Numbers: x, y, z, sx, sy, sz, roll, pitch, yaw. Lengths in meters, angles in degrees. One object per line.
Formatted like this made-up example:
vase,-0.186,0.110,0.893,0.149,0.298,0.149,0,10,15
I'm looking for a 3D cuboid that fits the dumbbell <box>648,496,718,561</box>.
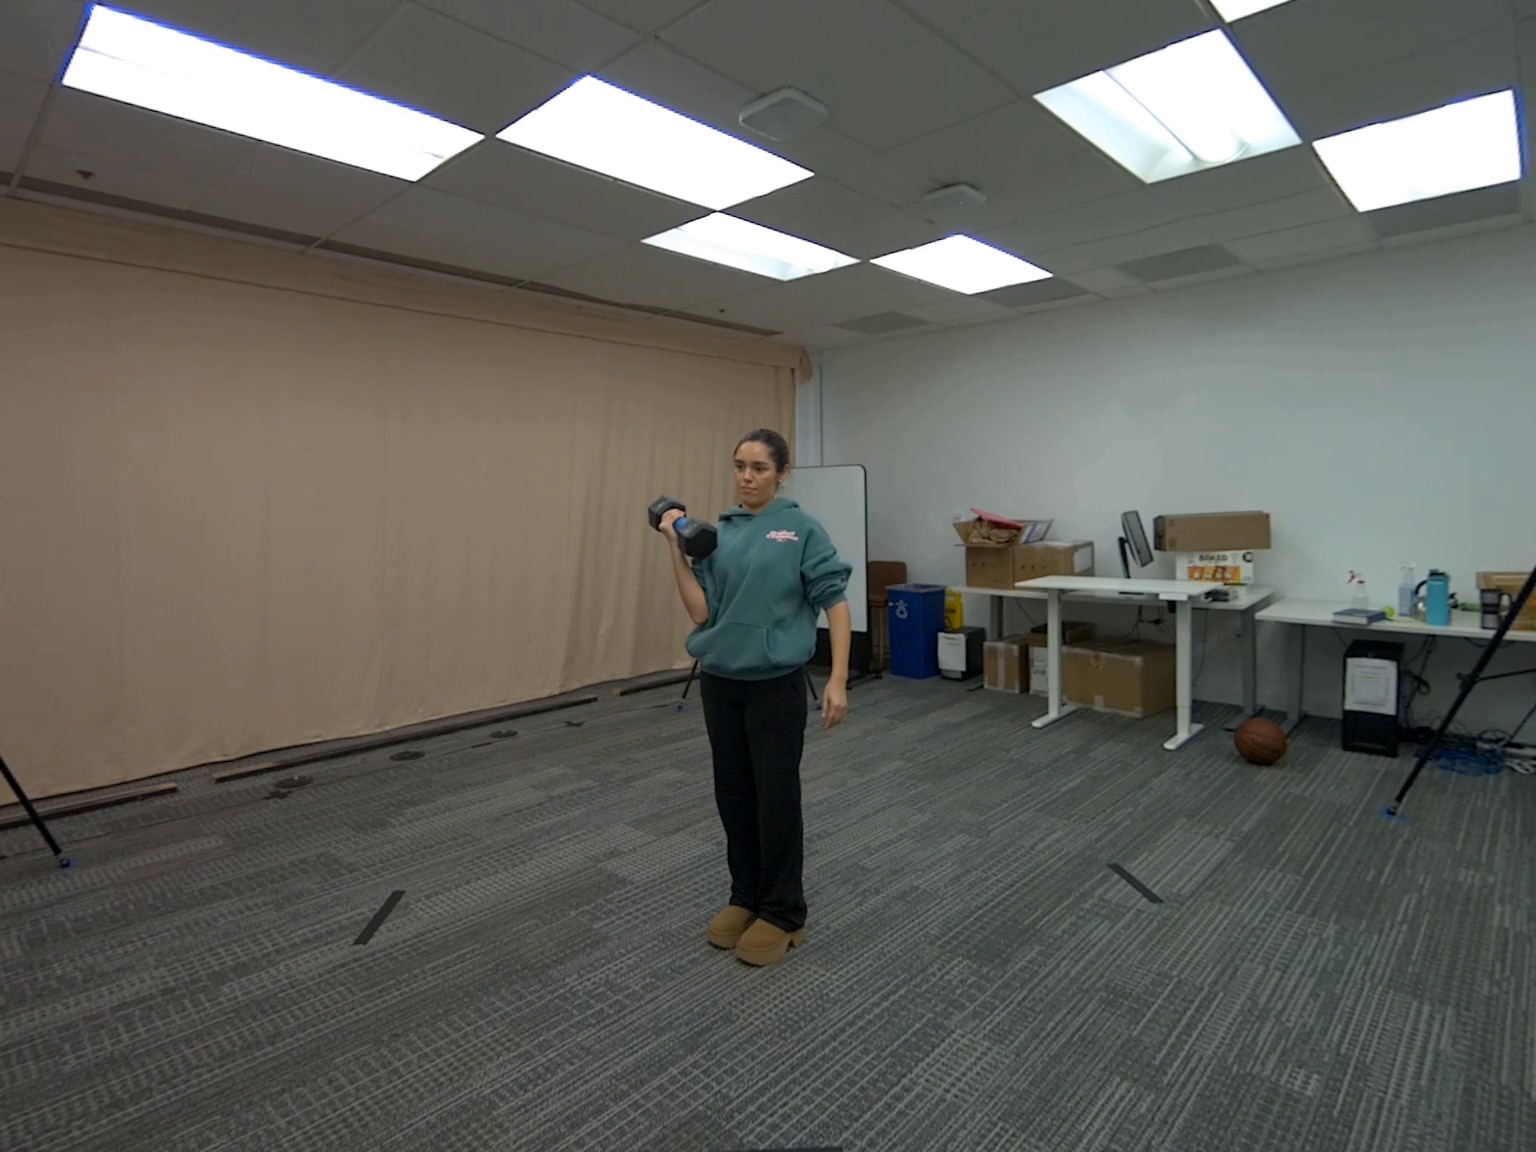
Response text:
dumbbell,-0.269,-0.154,2.625,0.122,0.105,0.304,-41,39,-10
